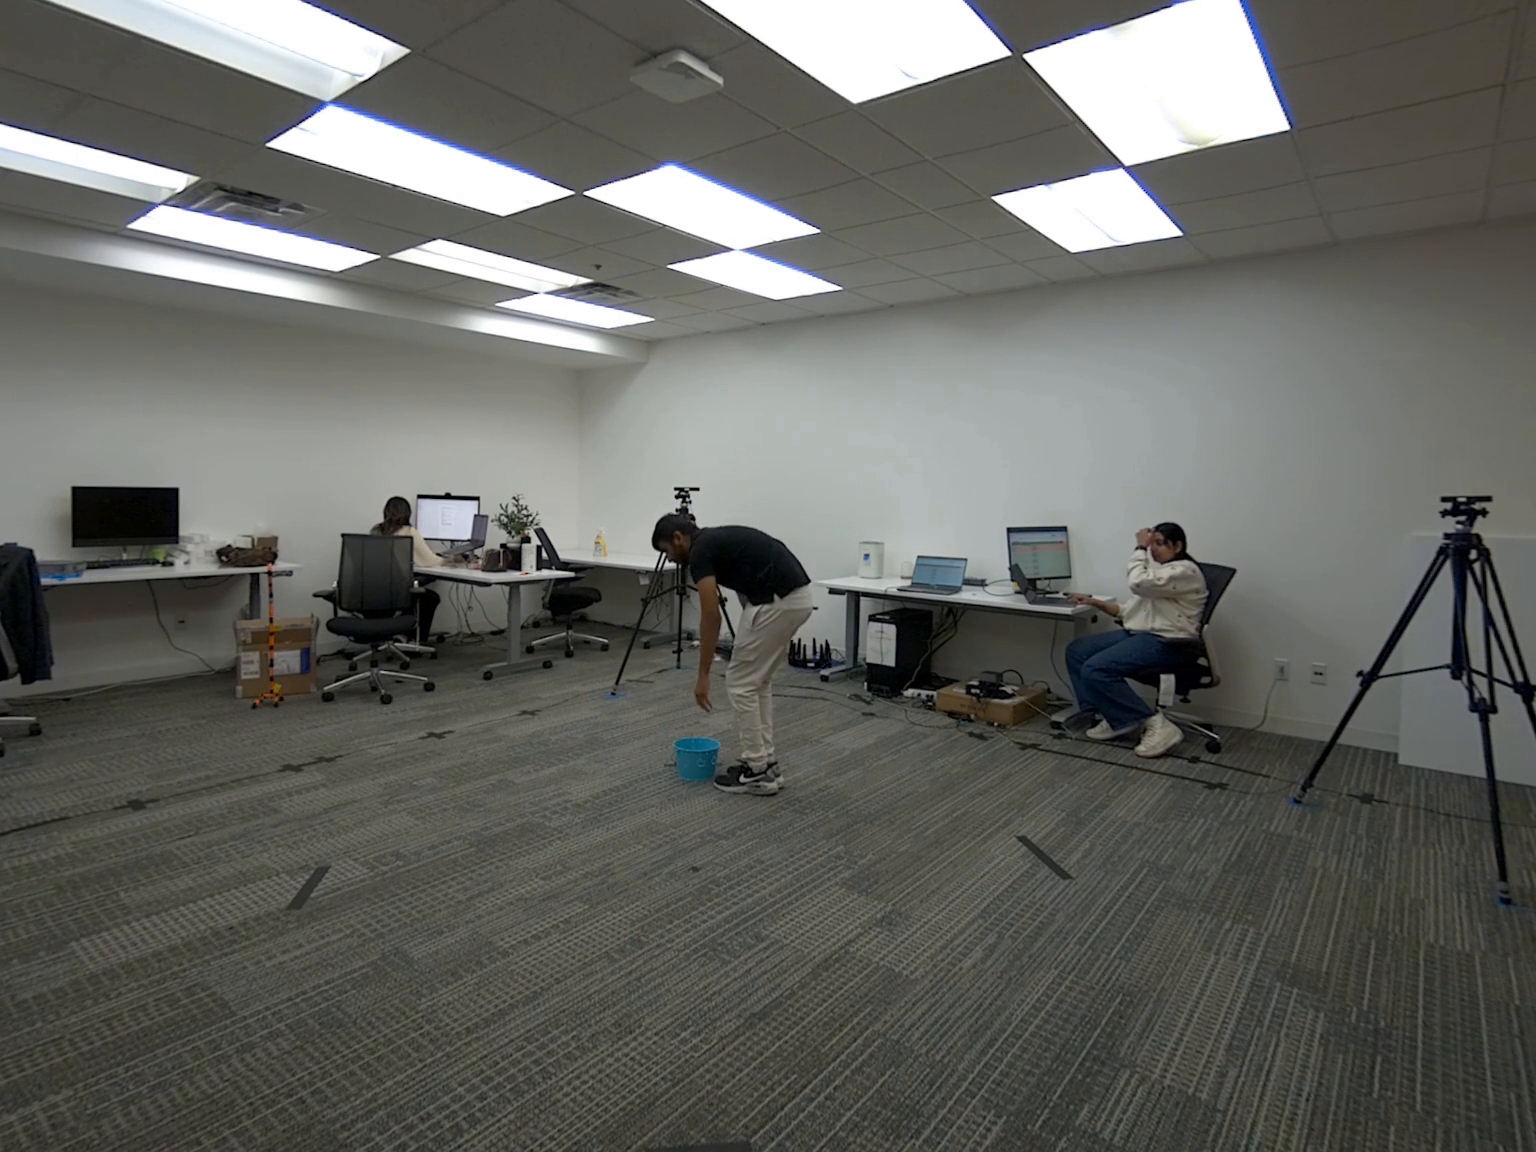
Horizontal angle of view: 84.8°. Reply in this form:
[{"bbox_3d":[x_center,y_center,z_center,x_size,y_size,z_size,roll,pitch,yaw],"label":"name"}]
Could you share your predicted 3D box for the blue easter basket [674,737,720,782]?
[{"bbox_3d":[-0.360,0.888,4.136,0.243,0.155,0.245,0,6,-2],"label":"blue easter basket"}]
